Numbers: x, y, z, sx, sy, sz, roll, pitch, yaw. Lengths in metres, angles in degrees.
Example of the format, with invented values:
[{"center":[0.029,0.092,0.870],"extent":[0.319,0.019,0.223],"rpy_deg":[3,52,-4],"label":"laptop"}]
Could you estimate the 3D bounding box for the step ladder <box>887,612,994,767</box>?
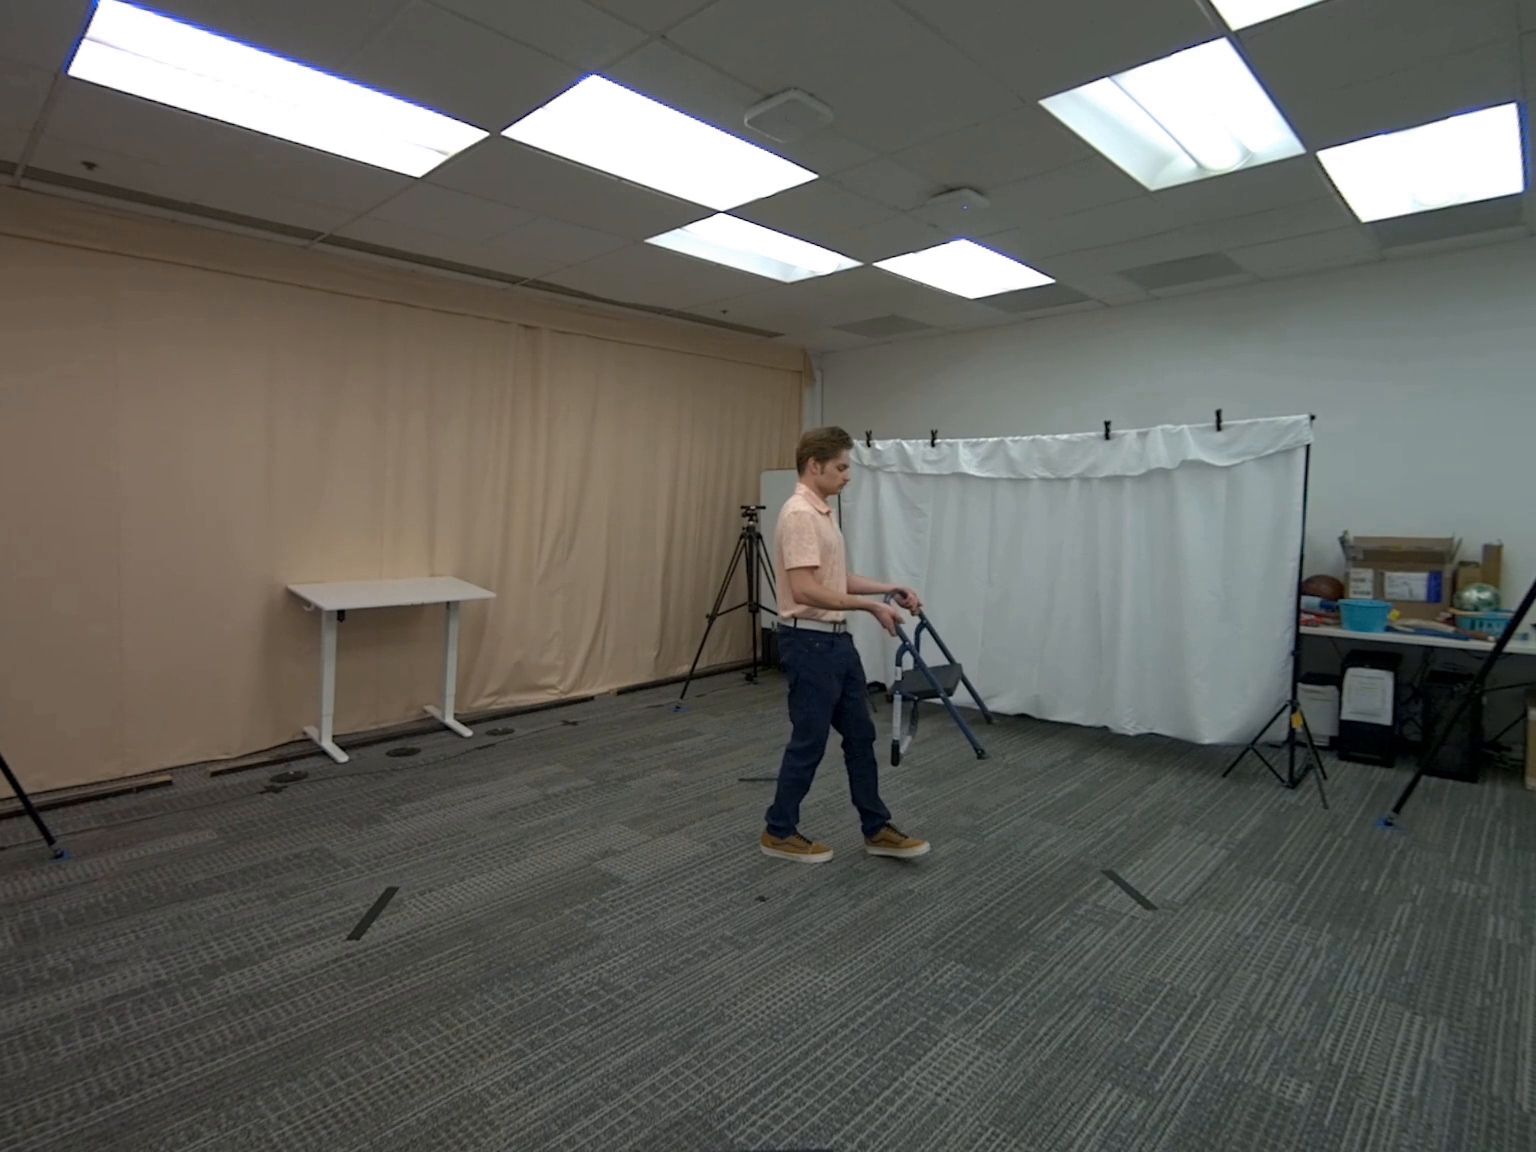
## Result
[{"center":[0.611,0.346,3.172],"extent":[0.356,0.605,0.423],"rpy_deg":[-12,3,22],"label":"step ladder"}]
